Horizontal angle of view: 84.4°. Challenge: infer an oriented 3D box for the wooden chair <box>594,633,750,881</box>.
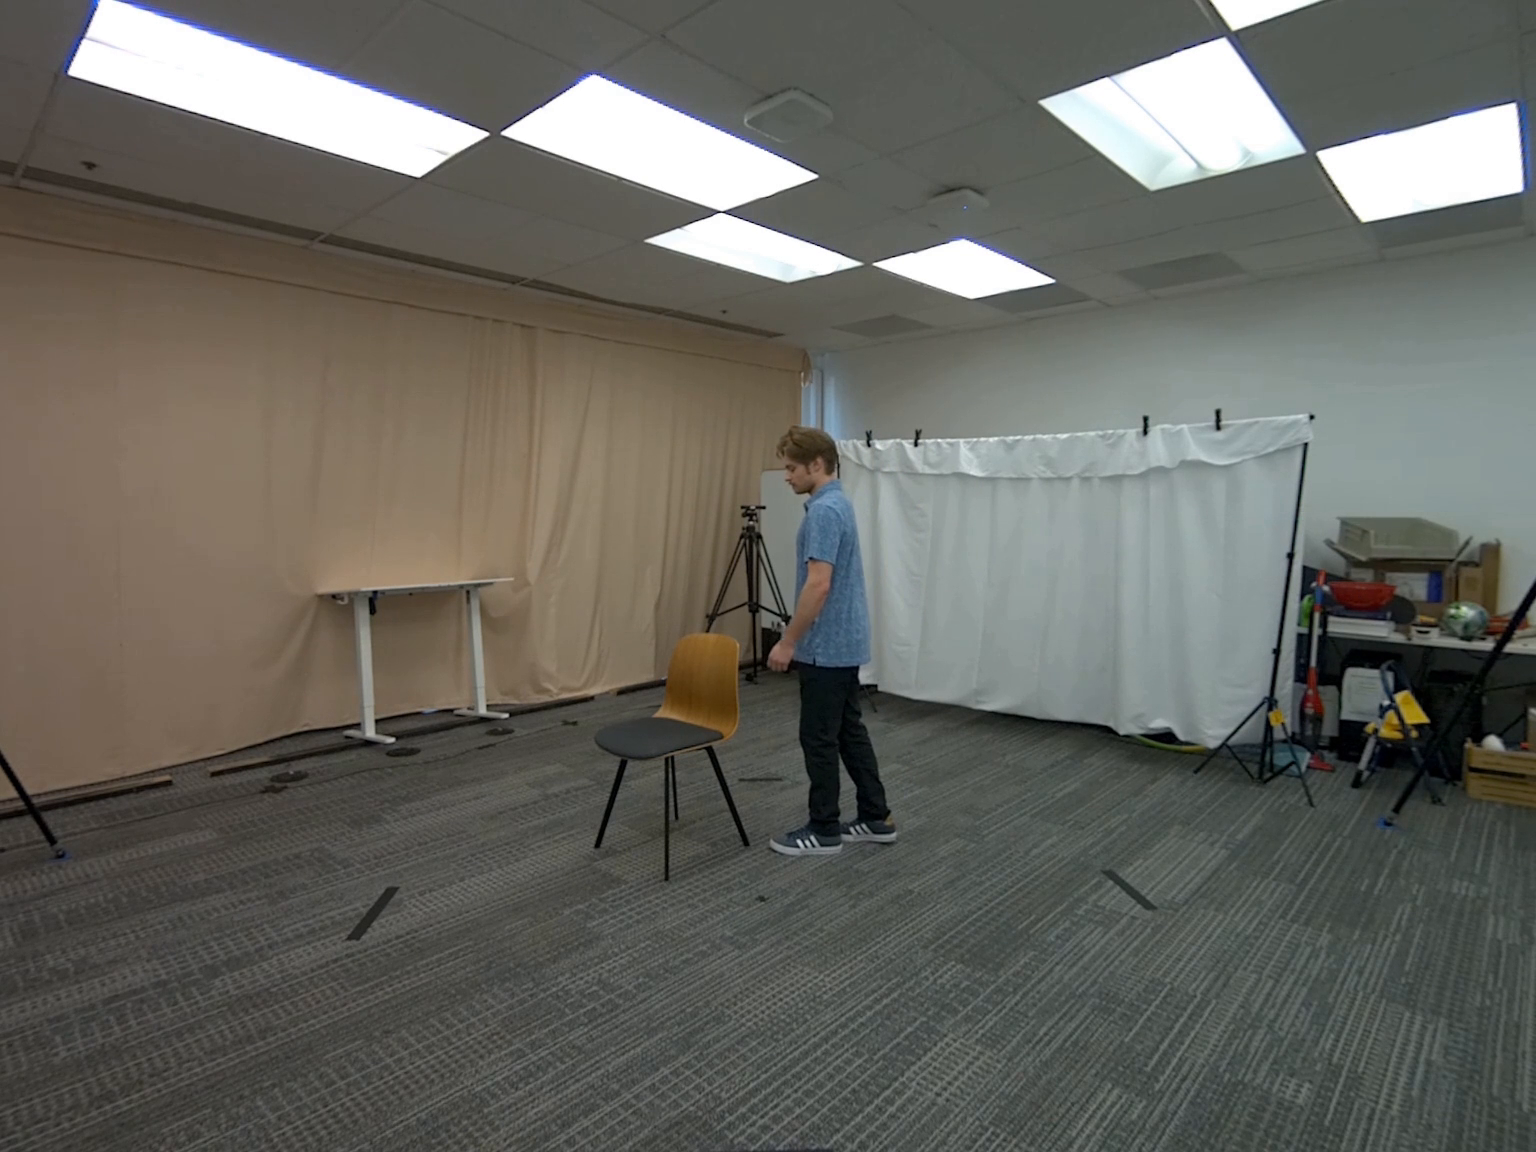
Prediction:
[{"bbox_3d":[-0.399,0.687,3.410,0.494,0.877,0.506,3,0,43],"label":"wooden chair"}]
